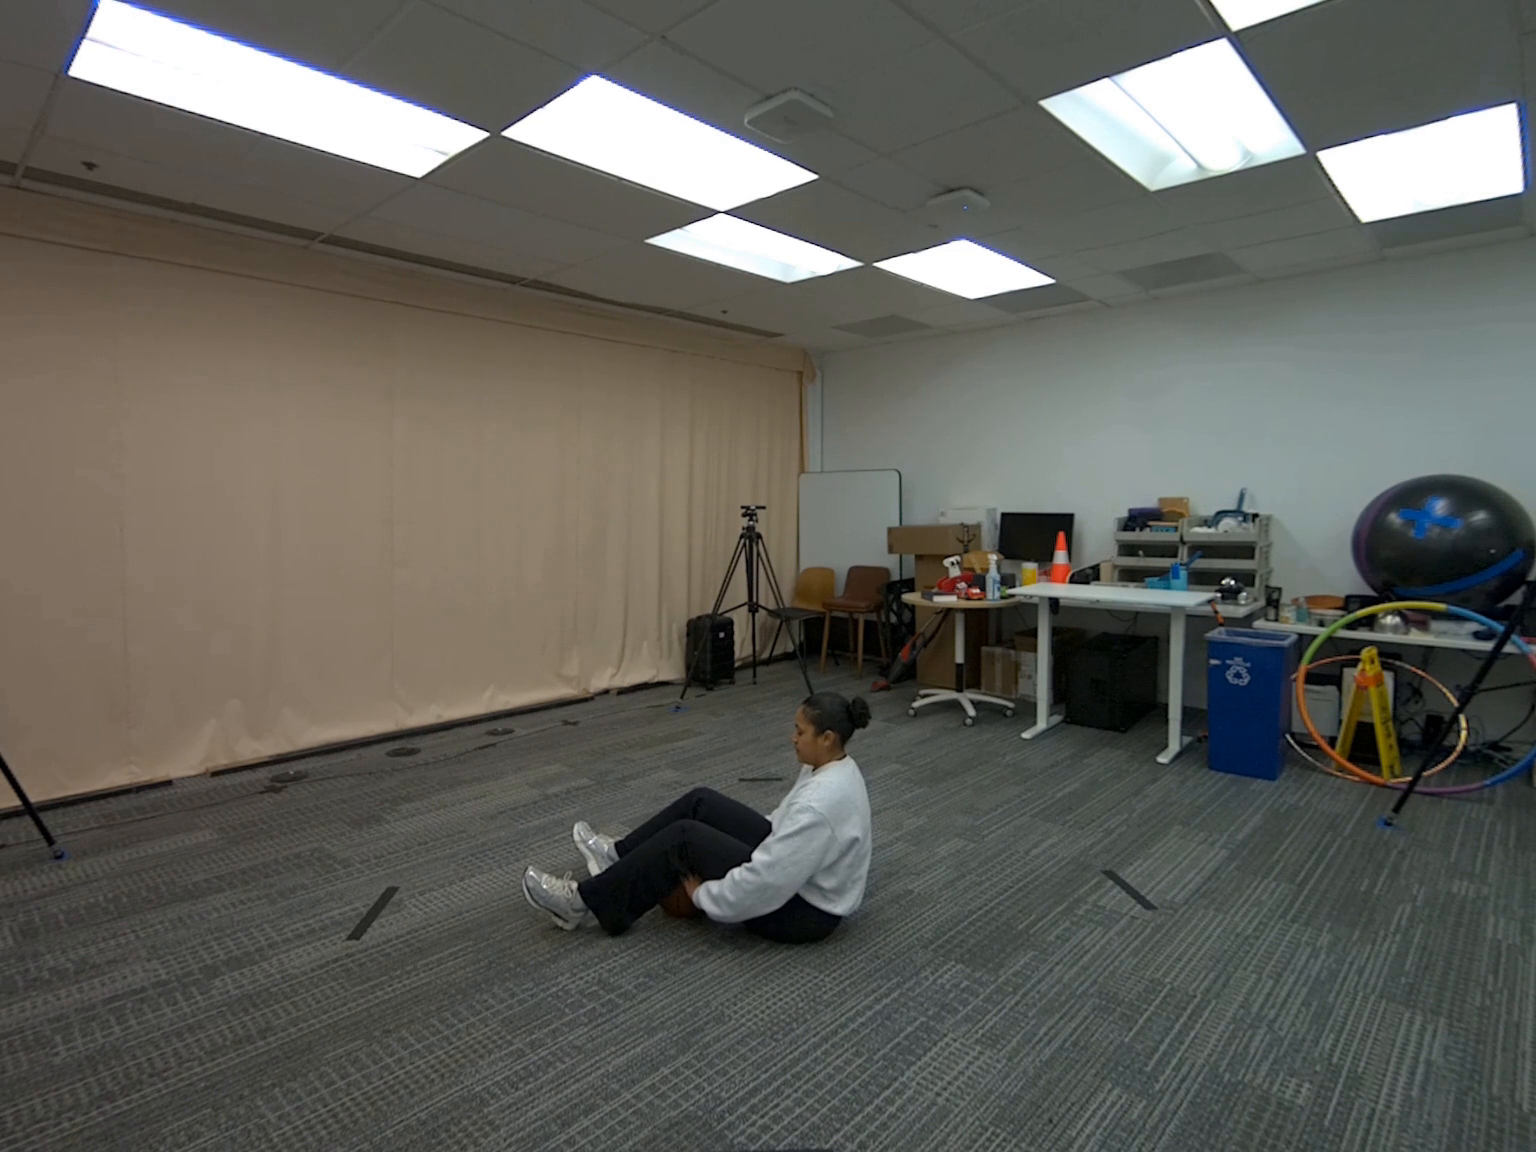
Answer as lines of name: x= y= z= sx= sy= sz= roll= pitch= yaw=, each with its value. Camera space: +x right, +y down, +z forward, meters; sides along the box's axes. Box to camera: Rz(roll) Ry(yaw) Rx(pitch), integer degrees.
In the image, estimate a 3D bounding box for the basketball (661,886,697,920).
basketball: x=-0.289 y=1.026 z=2.896 sx=0.236 sy=0.235 sz=0.237 roll=0 pitch=4 yaw=-2
